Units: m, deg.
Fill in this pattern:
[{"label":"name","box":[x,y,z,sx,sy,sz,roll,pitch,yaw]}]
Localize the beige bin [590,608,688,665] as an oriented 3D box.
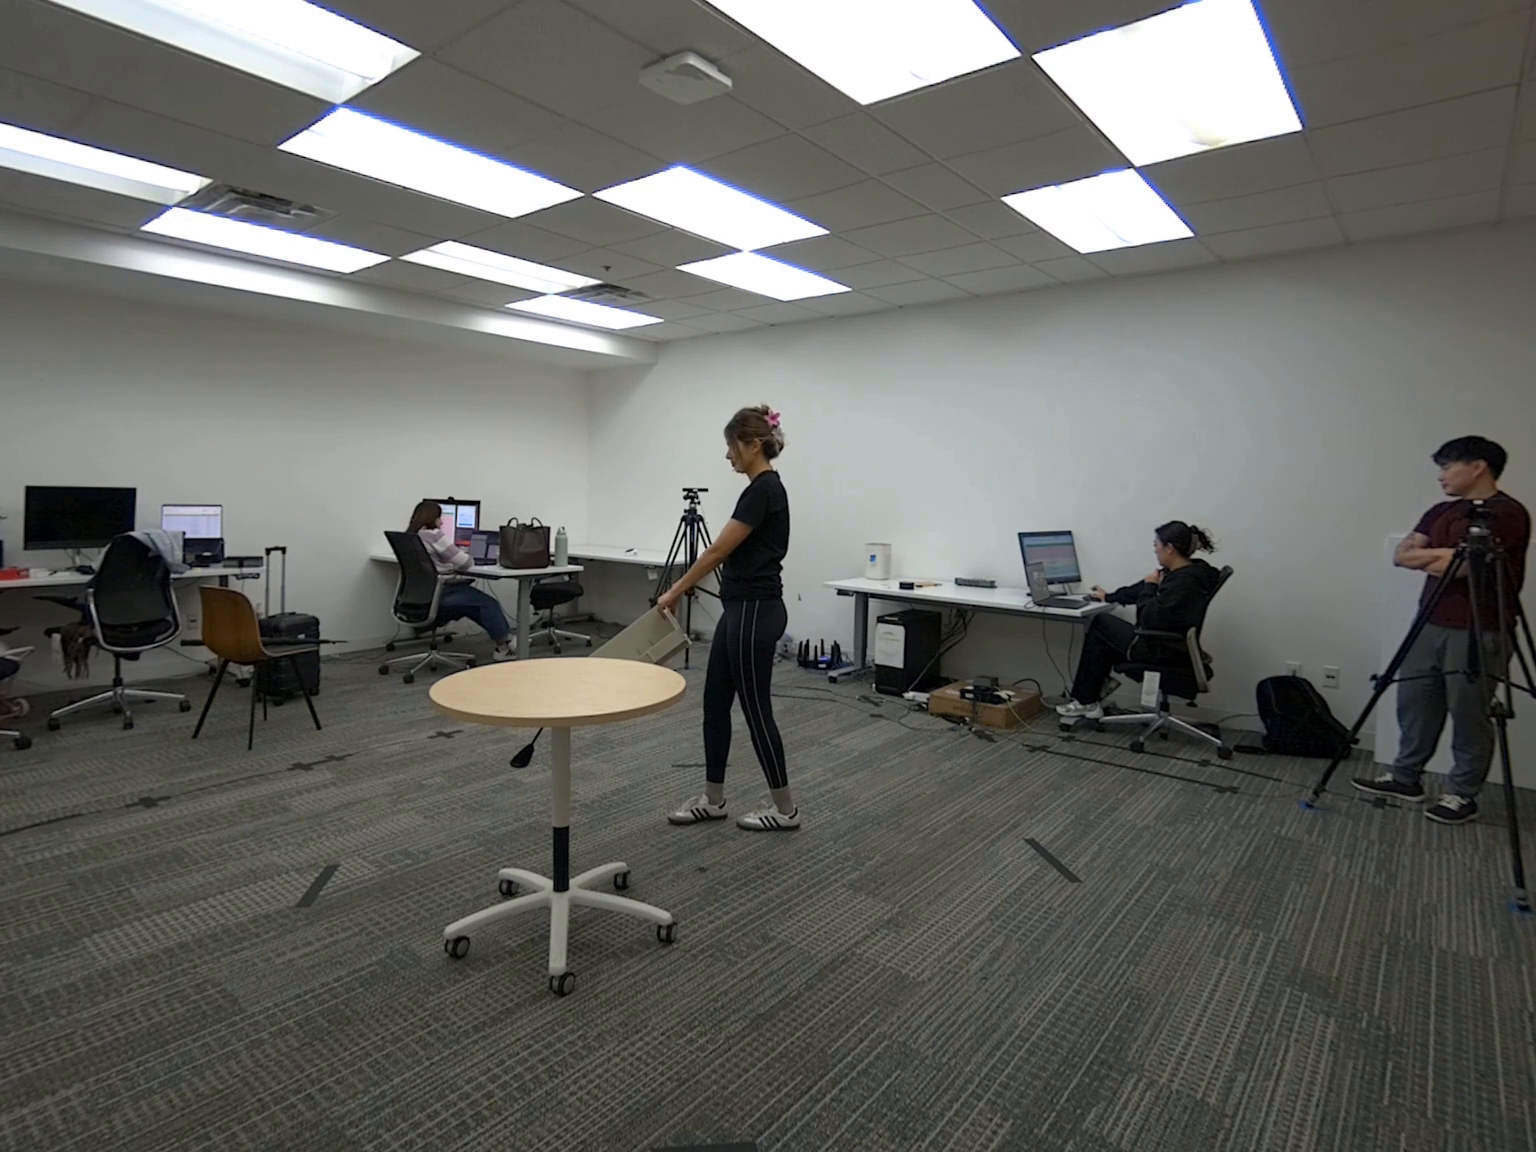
[{"label":"beige bin","box":[-0.544,0.312,3.467,0.422,0.188,0.379,-38,5,-5]}]
